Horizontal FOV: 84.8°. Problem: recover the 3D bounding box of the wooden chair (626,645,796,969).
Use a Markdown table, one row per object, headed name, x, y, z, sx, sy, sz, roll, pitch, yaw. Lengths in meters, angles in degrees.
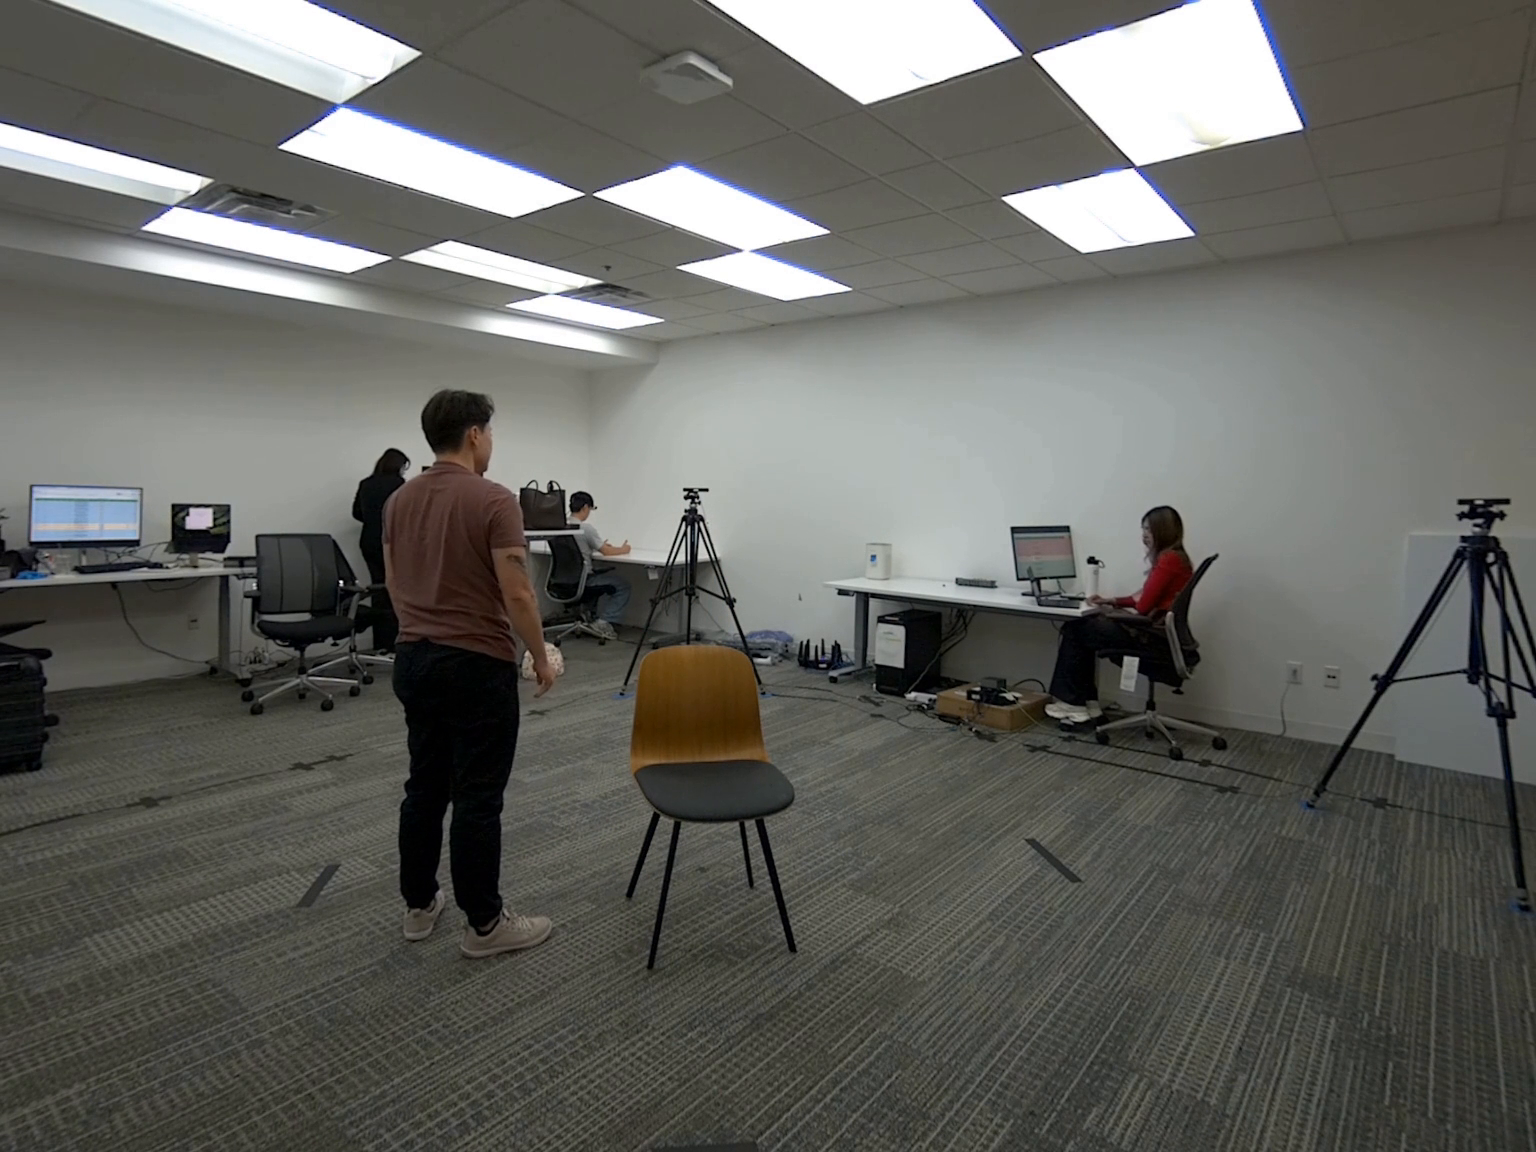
| name | x | y | z | sx | sy | sz | roll | pitch | yaw |
| --- | --- | --- | --- | --- | --- | --- | --- | --- | --- |
| wooden chair | -0.193 | 0.687 | 2.681 | 0.470 | 0.878 | 0.531 | 0 | -1 | -16 |
